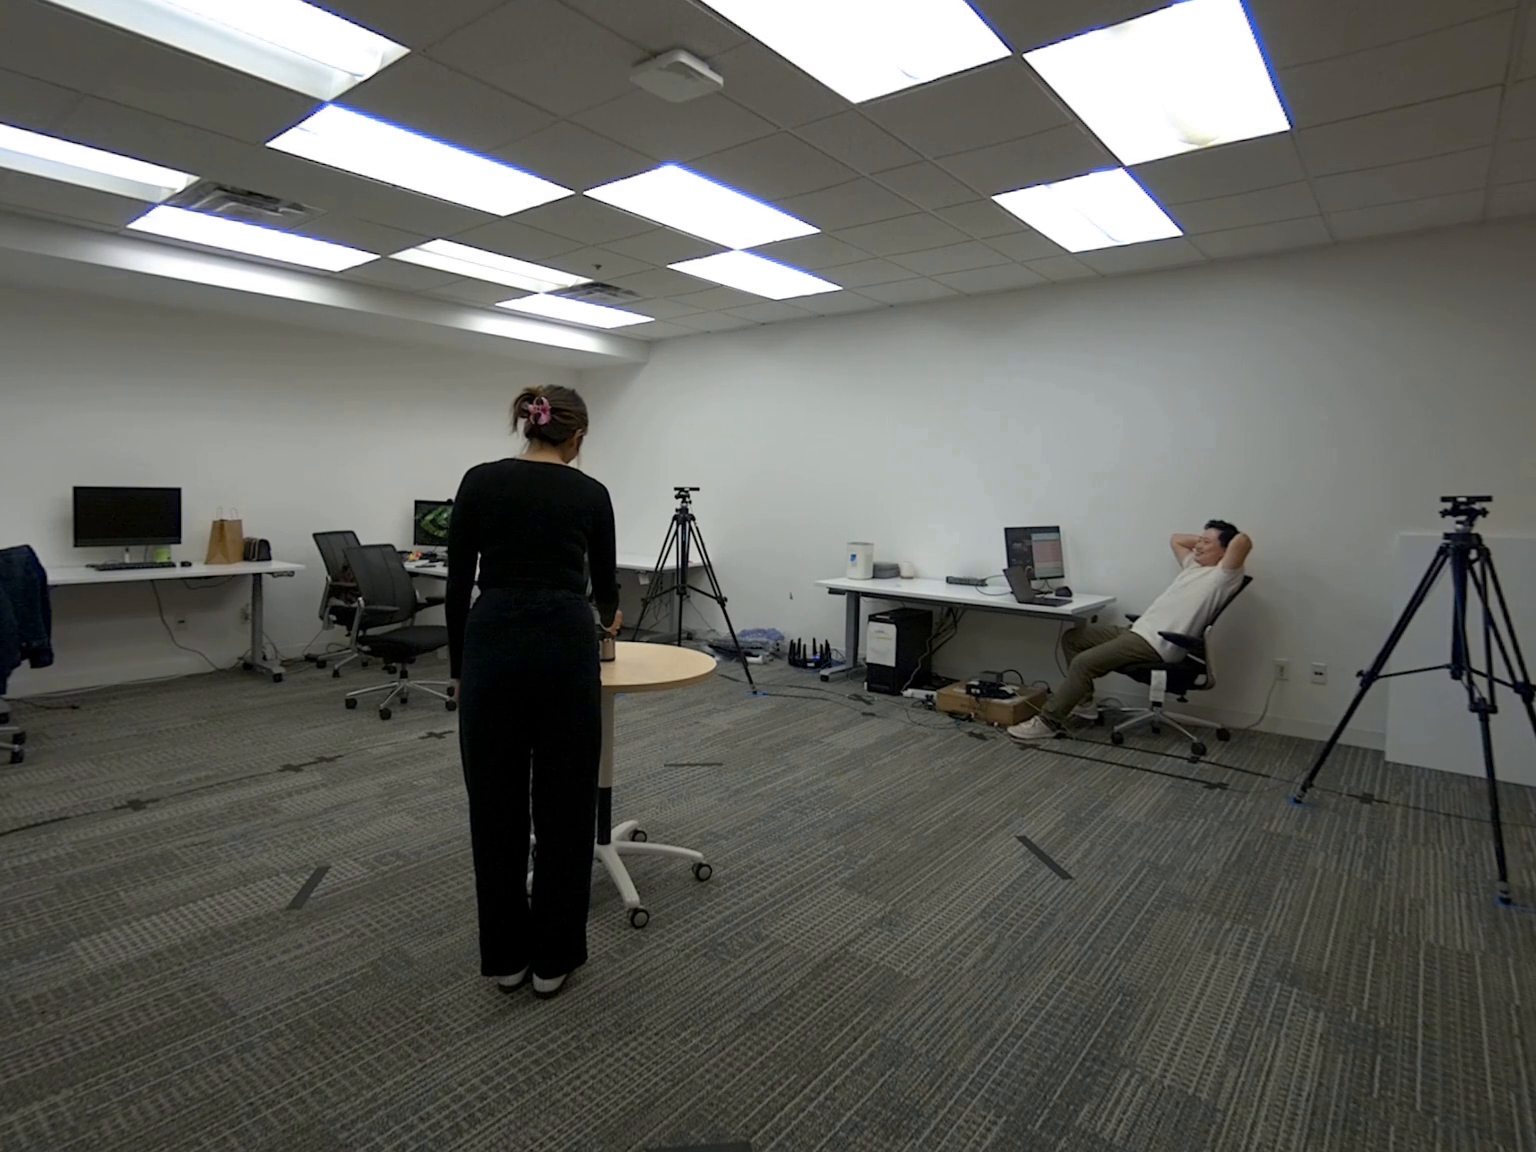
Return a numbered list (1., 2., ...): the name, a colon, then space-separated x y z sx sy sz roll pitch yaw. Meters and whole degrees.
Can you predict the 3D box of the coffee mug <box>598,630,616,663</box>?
1. coffee mug: -0.585 0.197 2.940 0.091 0.202 0.118 6 4 38
